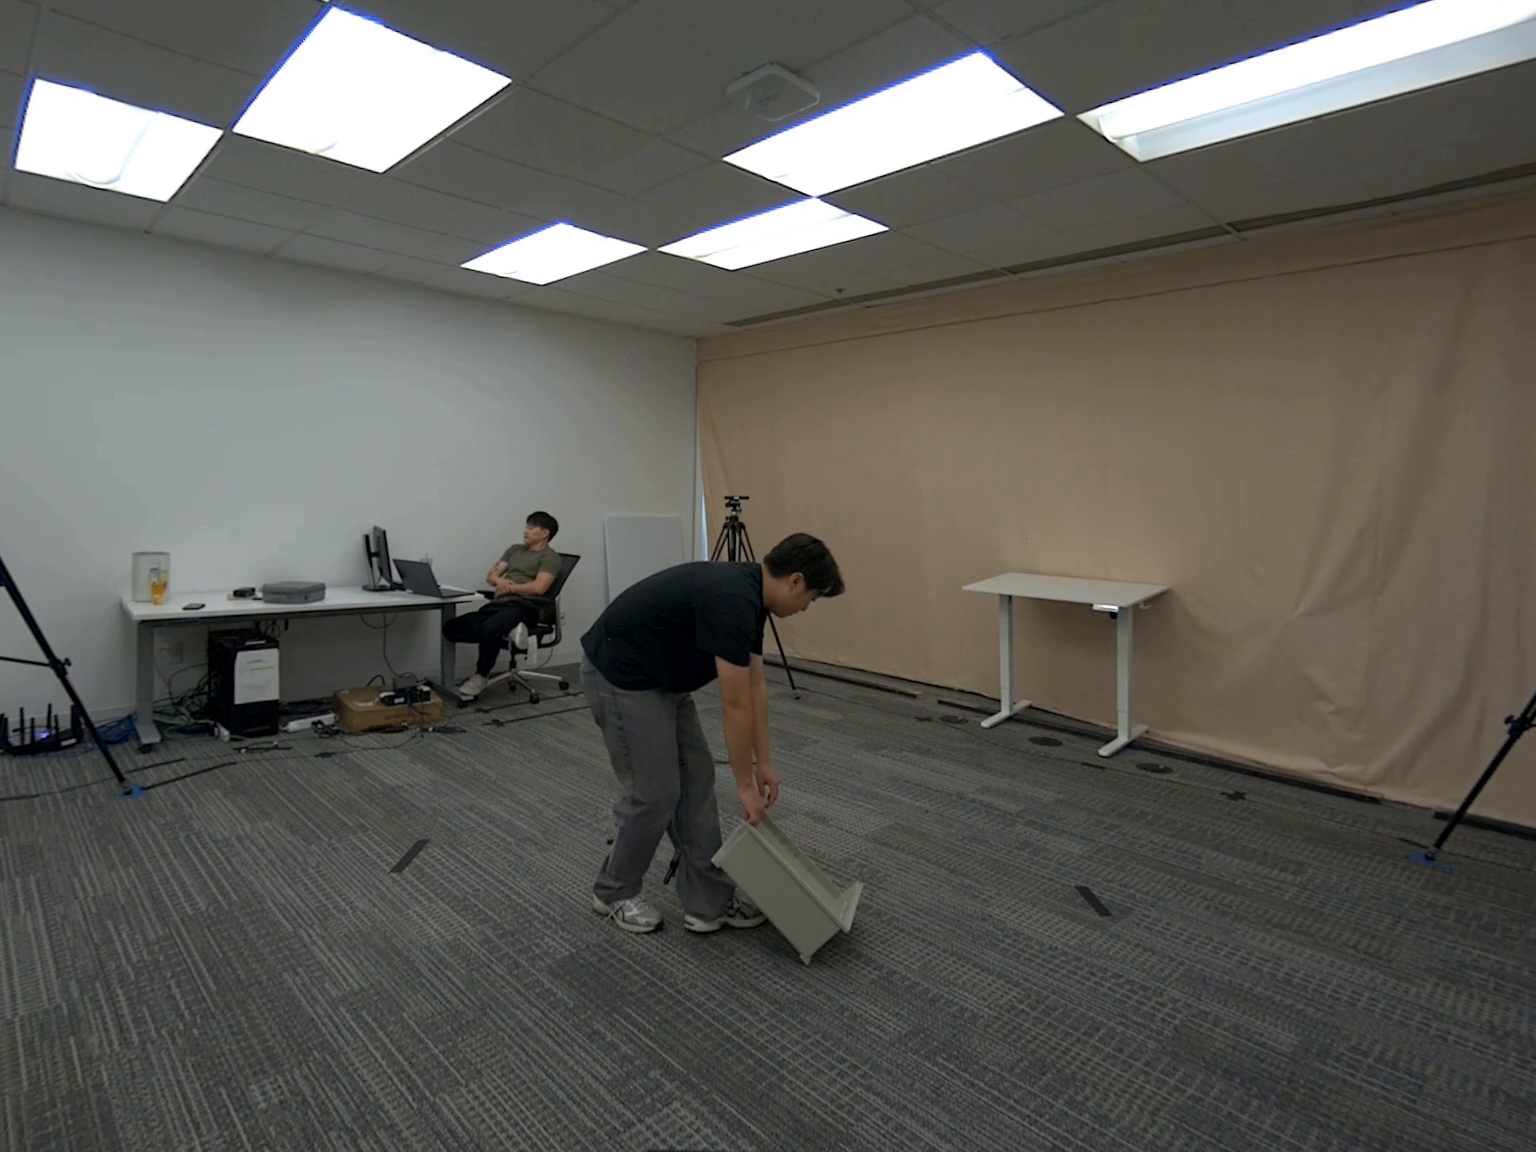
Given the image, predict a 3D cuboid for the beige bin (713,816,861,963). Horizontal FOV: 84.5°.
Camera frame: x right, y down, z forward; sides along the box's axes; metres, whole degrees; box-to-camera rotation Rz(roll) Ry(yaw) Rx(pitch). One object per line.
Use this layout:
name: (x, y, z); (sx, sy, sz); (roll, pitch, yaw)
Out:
beige bin: (0.061, 0.943, 2.685); (0.427, 0.189, 0.373); (45, 13, 10)
